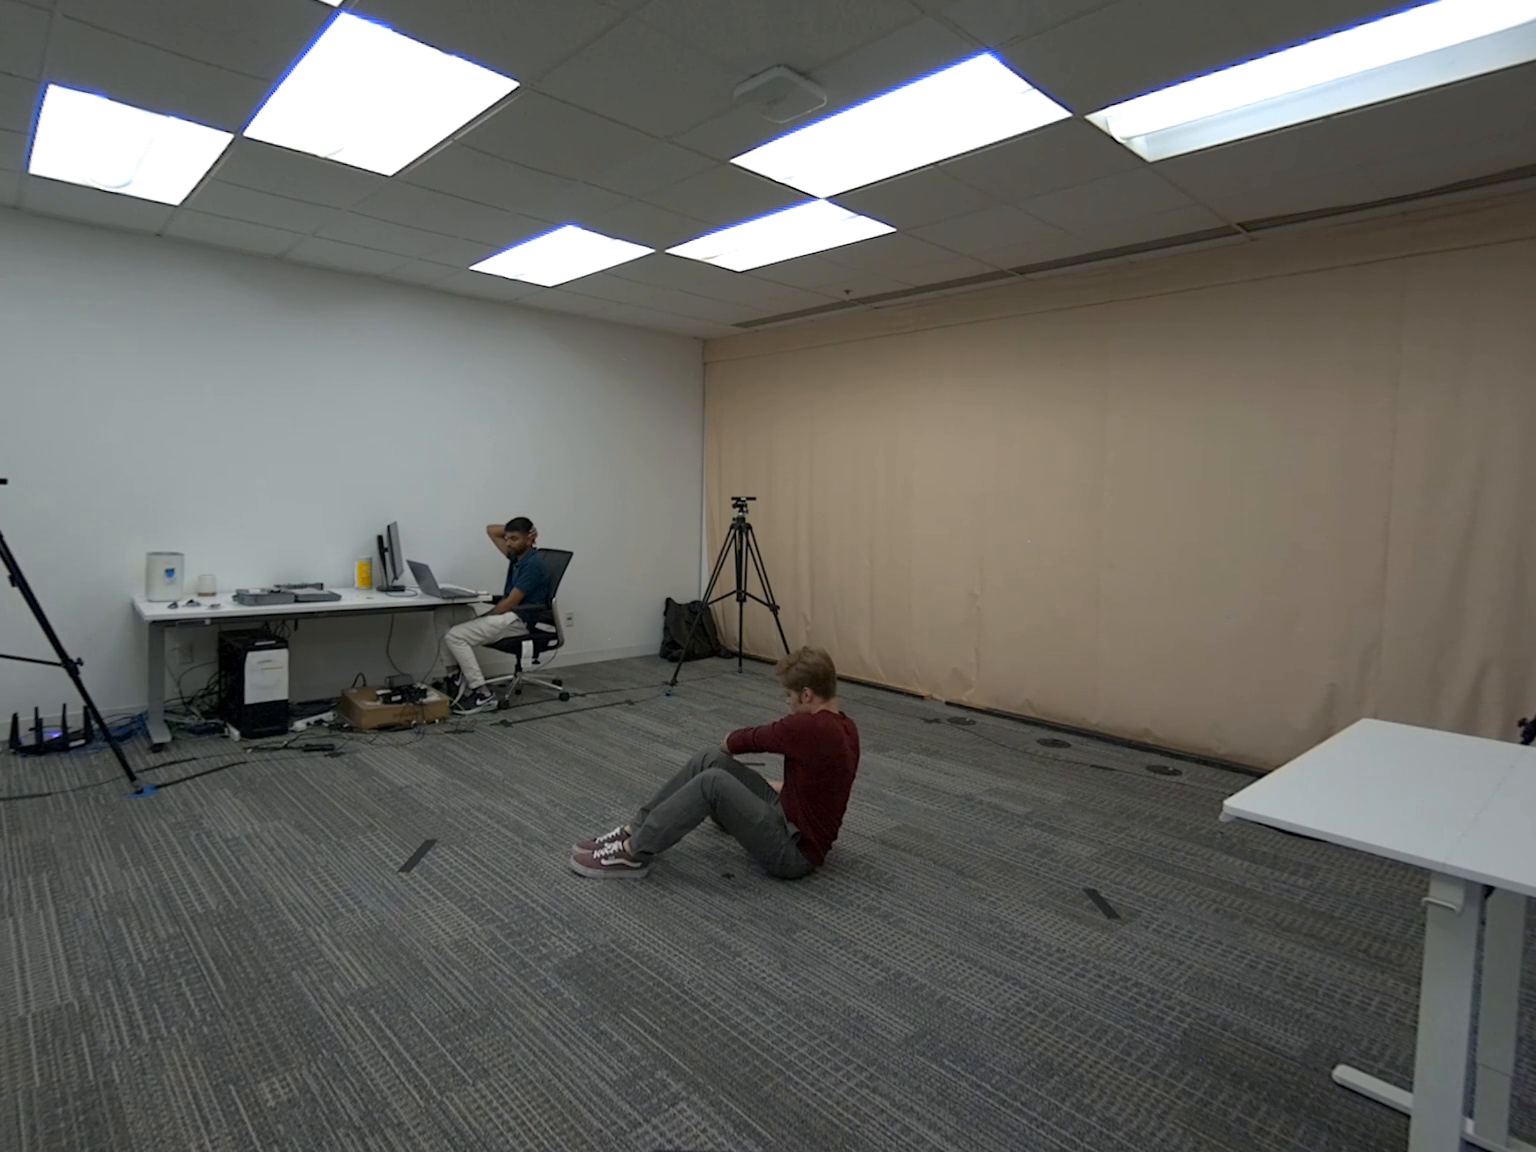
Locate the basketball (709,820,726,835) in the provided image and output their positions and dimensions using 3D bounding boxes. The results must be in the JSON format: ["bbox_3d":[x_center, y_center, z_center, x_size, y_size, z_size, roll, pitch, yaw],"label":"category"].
[{"bbox_3d":[-0.153,0.946,3.563,0.236,0.235,0.237,1,4,-1],"label":"basketball"}]
